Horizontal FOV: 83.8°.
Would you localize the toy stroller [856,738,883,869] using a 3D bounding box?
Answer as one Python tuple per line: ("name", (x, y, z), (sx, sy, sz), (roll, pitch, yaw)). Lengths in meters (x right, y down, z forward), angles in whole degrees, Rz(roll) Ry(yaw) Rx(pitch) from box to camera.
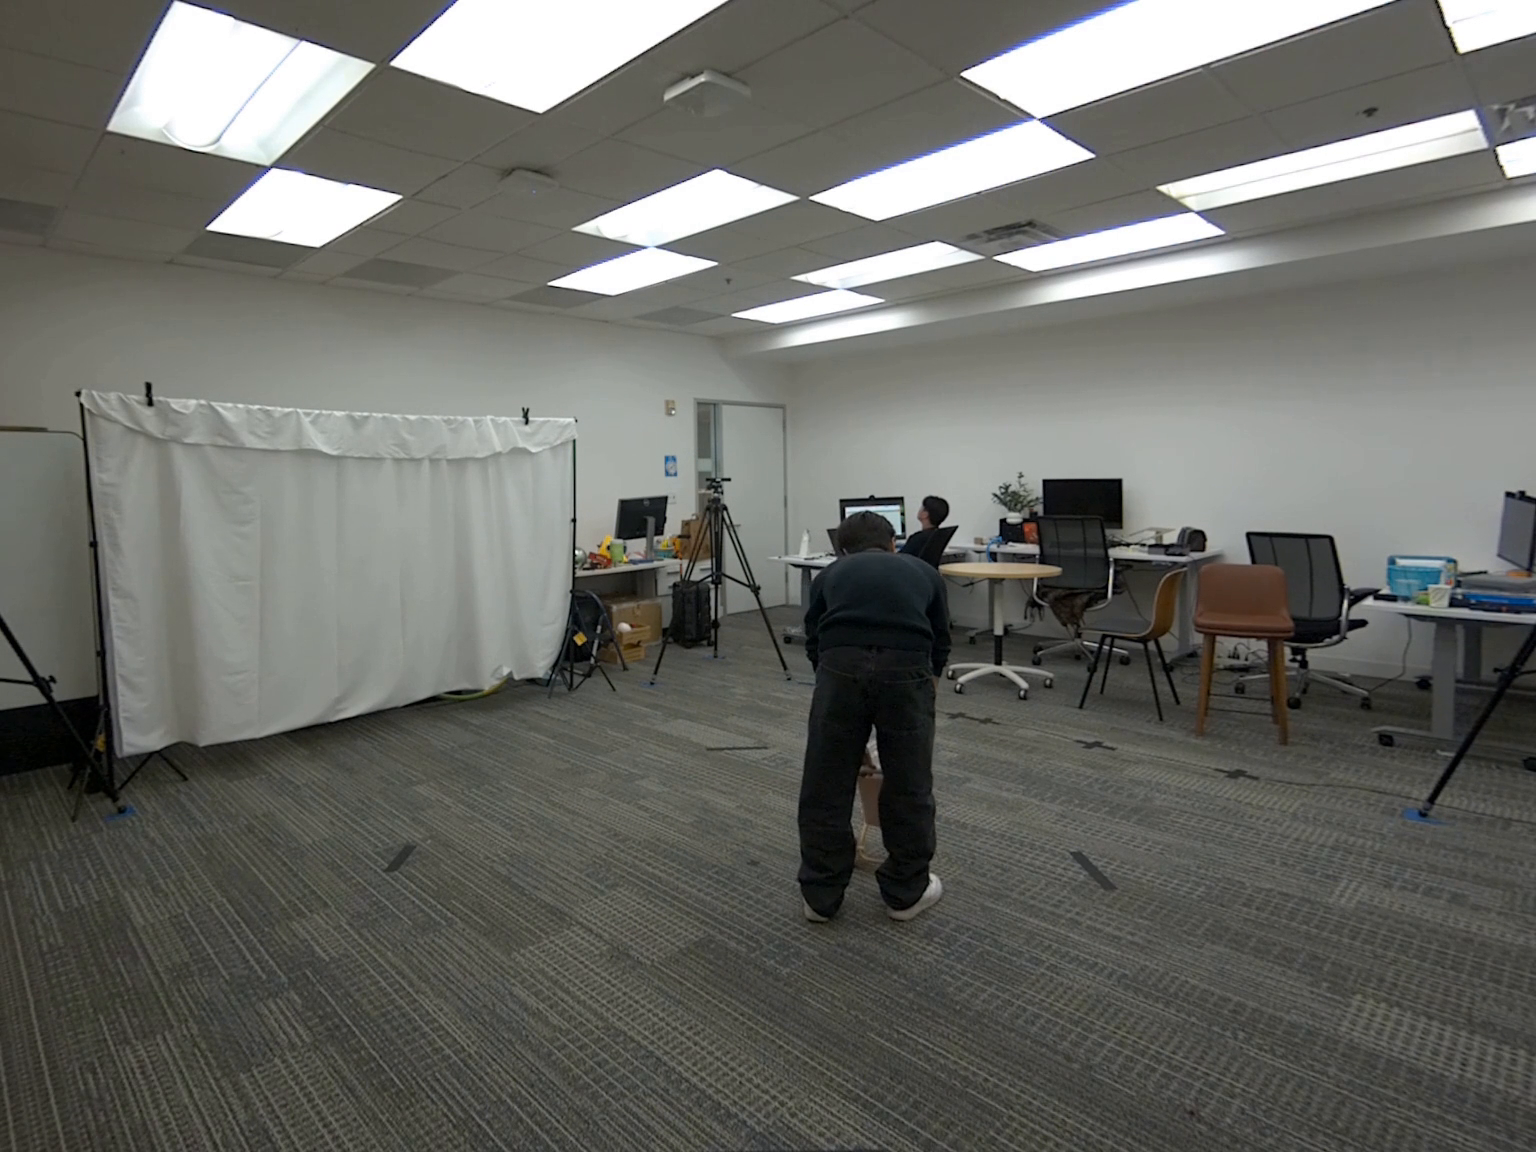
("toy stroller", (0.445, 0.815, 3.091), (0.288, 0.524, 0.340), (2, 22, 23))
